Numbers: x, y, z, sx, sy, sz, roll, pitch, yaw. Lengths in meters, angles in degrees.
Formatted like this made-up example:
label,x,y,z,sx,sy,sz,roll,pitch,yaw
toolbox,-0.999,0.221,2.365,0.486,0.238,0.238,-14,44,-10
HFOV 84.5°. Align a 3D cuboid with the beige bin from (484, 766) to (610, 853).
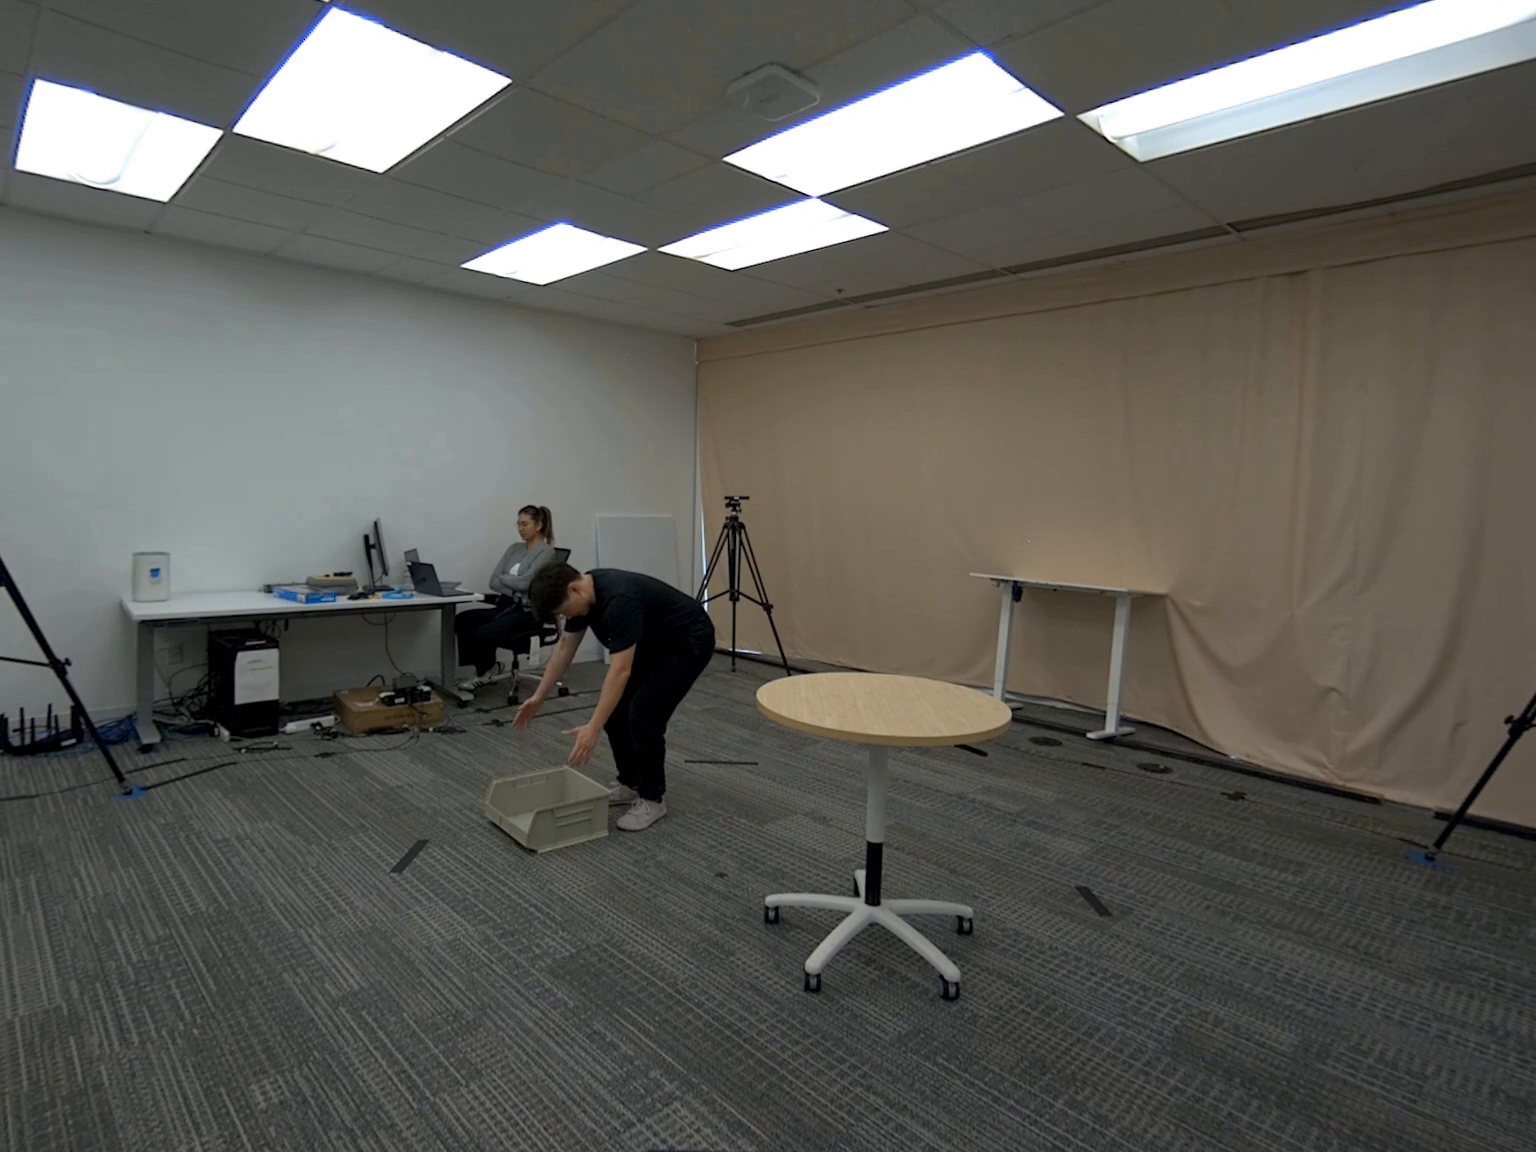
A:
label,x,y,z,sx,sy,sz,roll,pitch,yaw
beige bin,-0.920,0.963,3.490,0.369,0.188,0.433,-2,5,-40
